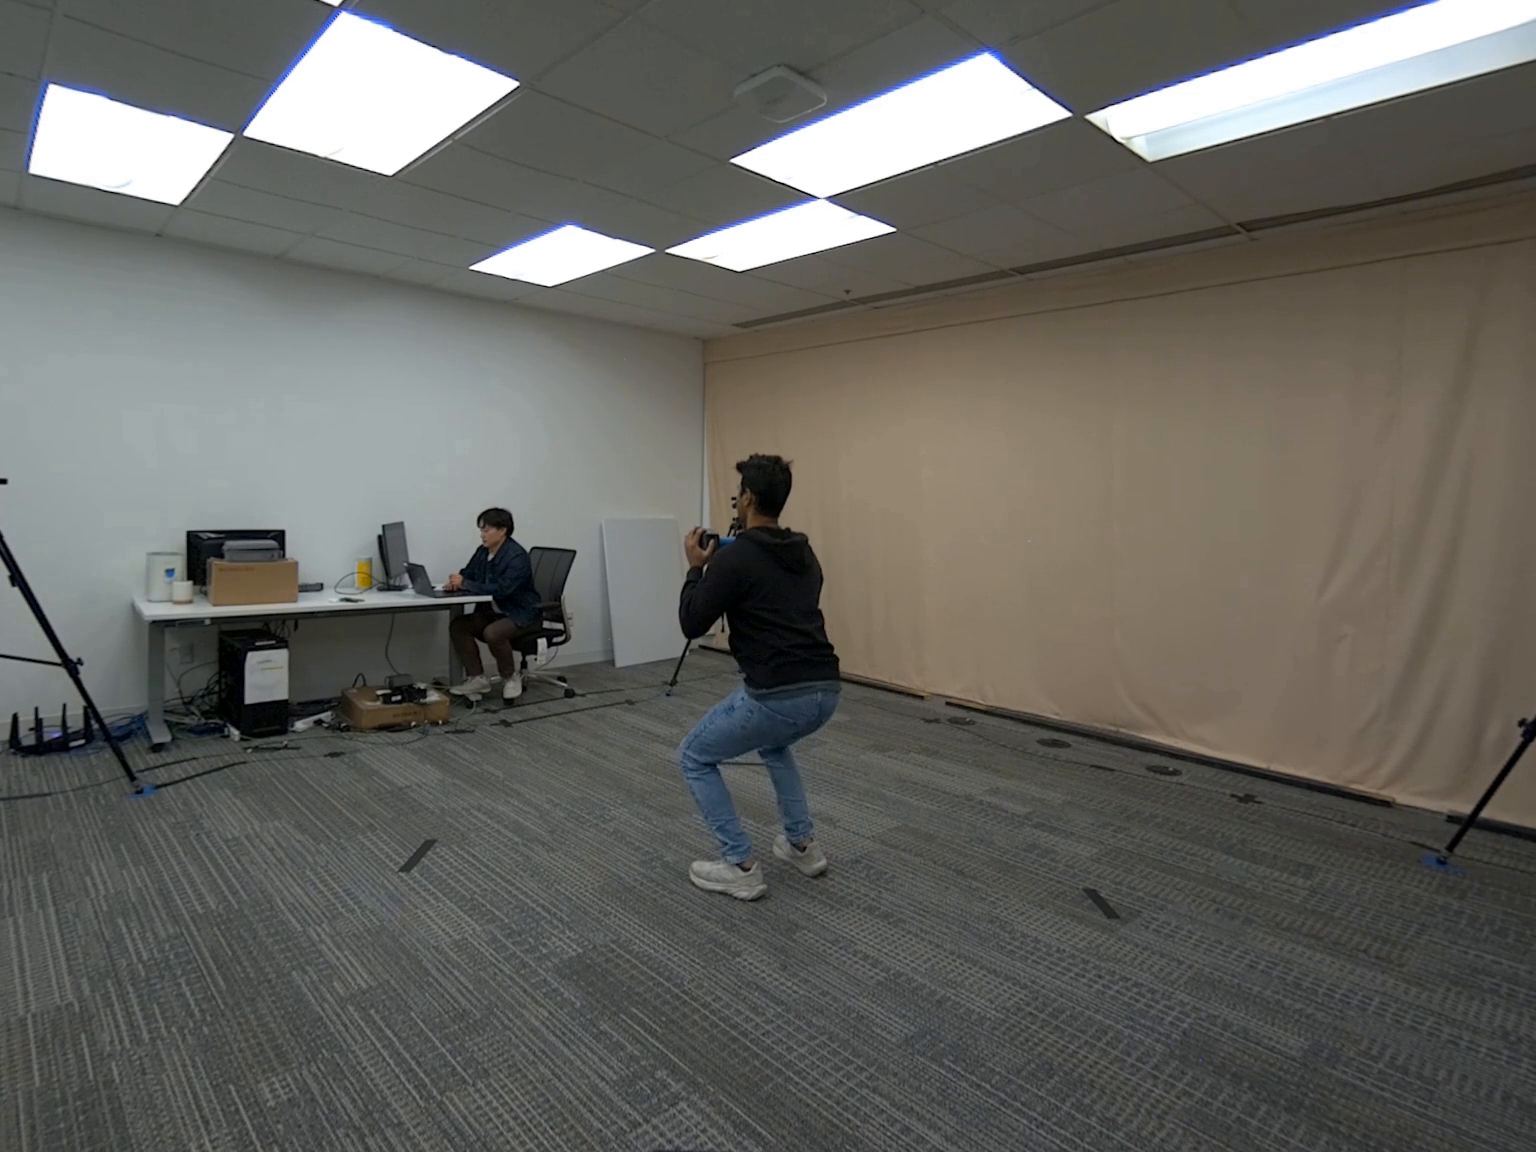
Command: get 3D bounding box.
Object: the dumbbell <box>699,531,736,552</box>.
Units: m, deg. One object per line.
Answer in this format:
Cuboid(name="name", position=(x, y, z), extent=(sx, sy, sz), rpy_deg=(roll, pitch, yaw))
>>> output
Cuboid(name="dumbbell", position=(-0.154, -0.115, 3.249), extent=(0.287, 0.123, 0.111), rpy_deg=(-1, -5, -39))
